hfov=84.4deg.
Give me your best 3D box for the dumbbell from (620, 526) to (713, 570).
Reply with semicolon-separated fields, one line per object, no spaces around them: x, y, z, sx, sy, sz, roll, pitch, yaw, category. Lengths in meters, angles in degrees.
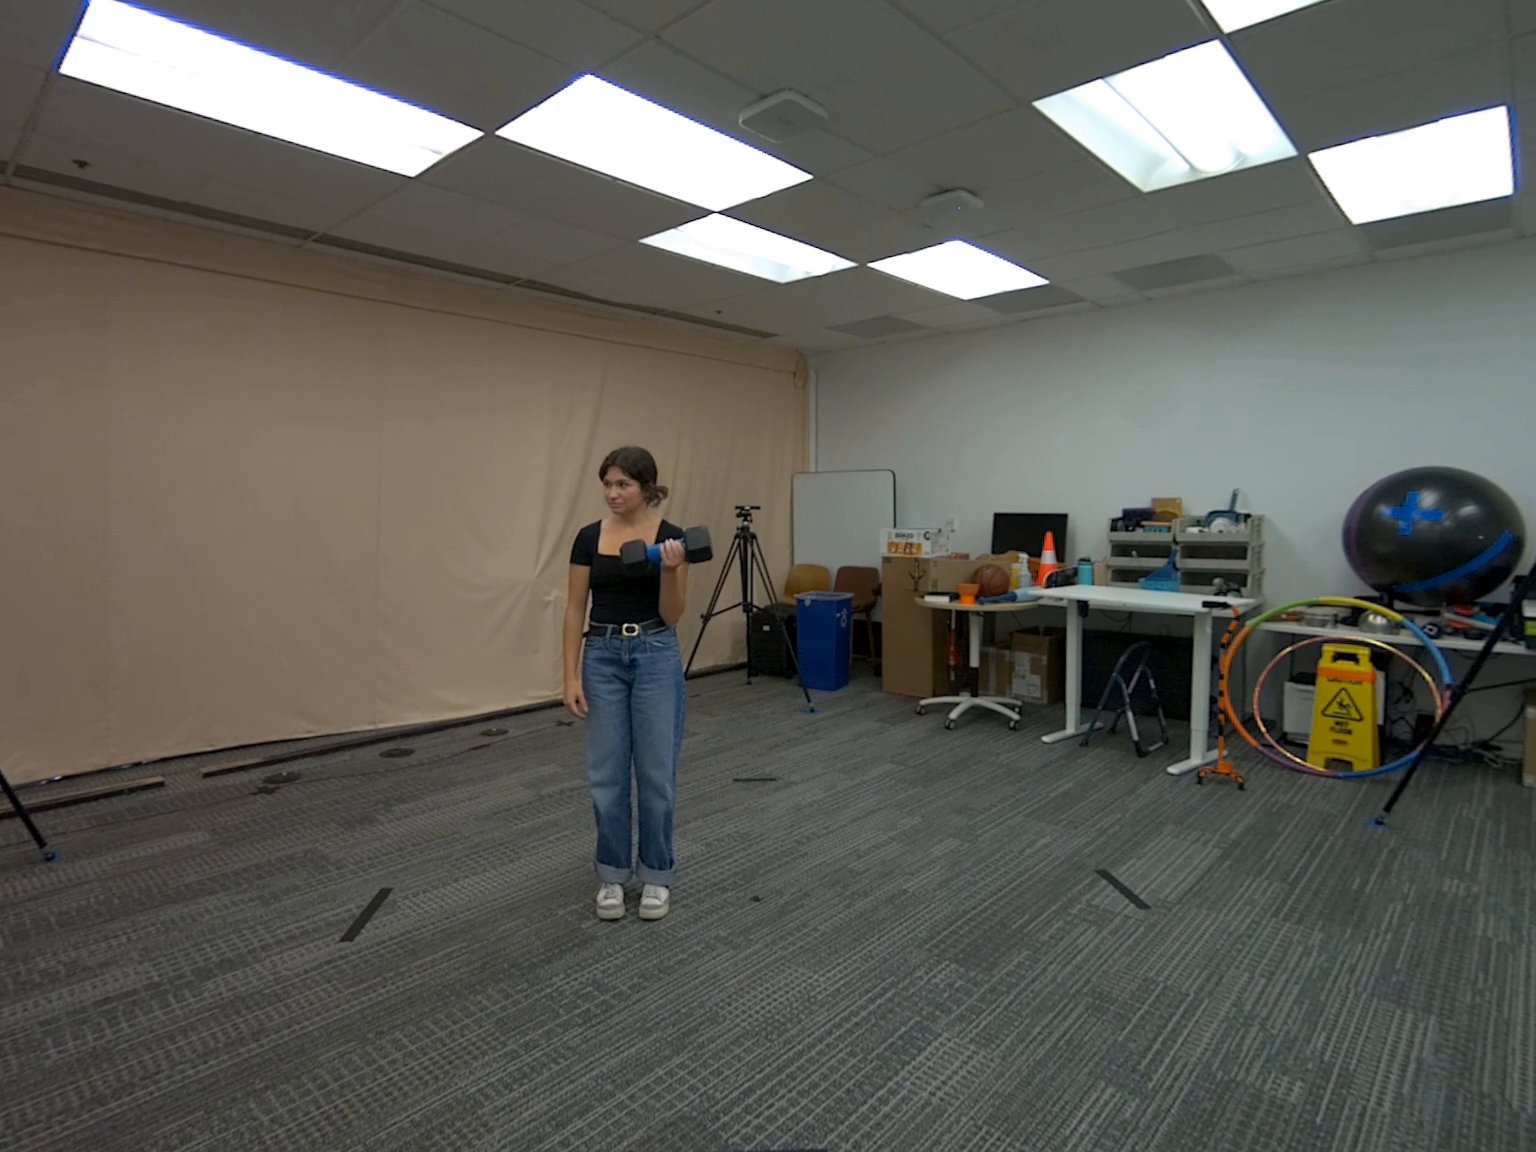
-0.326;-0.072;2.726;0.294;0.120;0.111;-12;45;1;dumbbell
